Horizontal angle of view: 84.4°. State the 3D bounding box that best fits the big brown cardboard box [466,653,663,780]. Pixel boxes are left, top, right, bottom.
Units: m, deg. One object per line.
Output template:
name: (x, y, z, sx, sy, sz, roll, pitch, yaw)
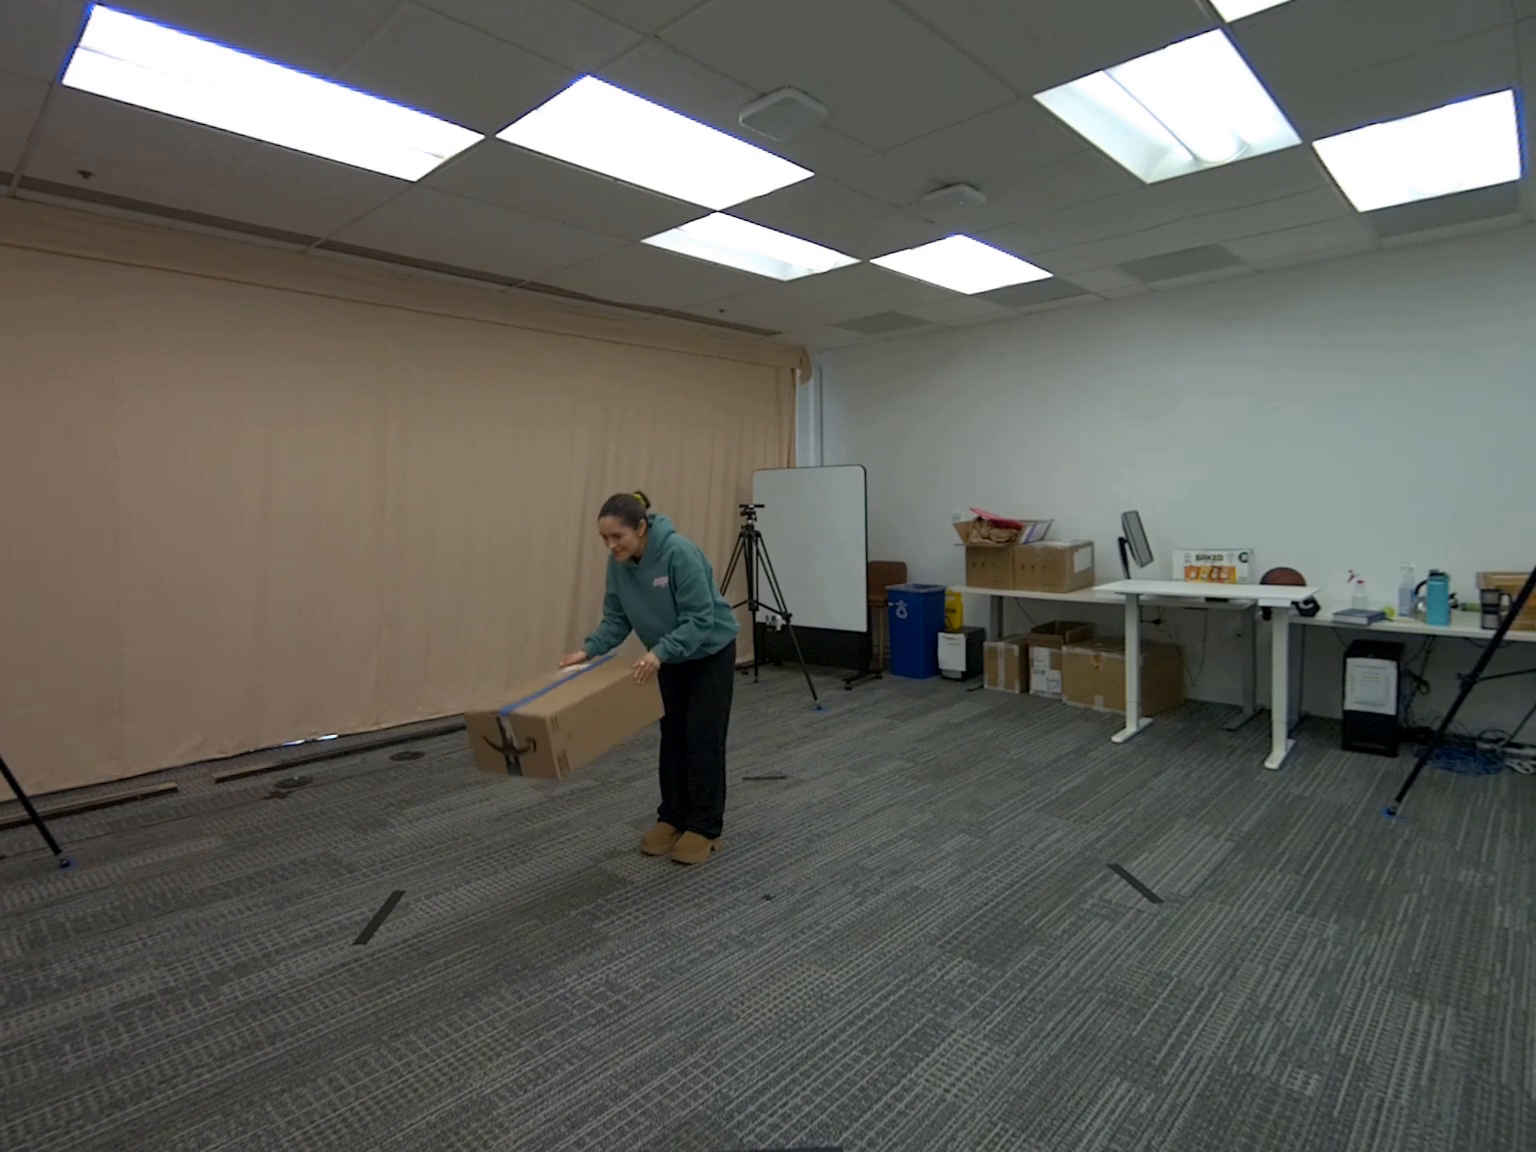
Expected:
big brown cardboard box: (-0.714, 0.476, 3.010, 0.429, 0.231, 0.576, -4, 12, 33)
